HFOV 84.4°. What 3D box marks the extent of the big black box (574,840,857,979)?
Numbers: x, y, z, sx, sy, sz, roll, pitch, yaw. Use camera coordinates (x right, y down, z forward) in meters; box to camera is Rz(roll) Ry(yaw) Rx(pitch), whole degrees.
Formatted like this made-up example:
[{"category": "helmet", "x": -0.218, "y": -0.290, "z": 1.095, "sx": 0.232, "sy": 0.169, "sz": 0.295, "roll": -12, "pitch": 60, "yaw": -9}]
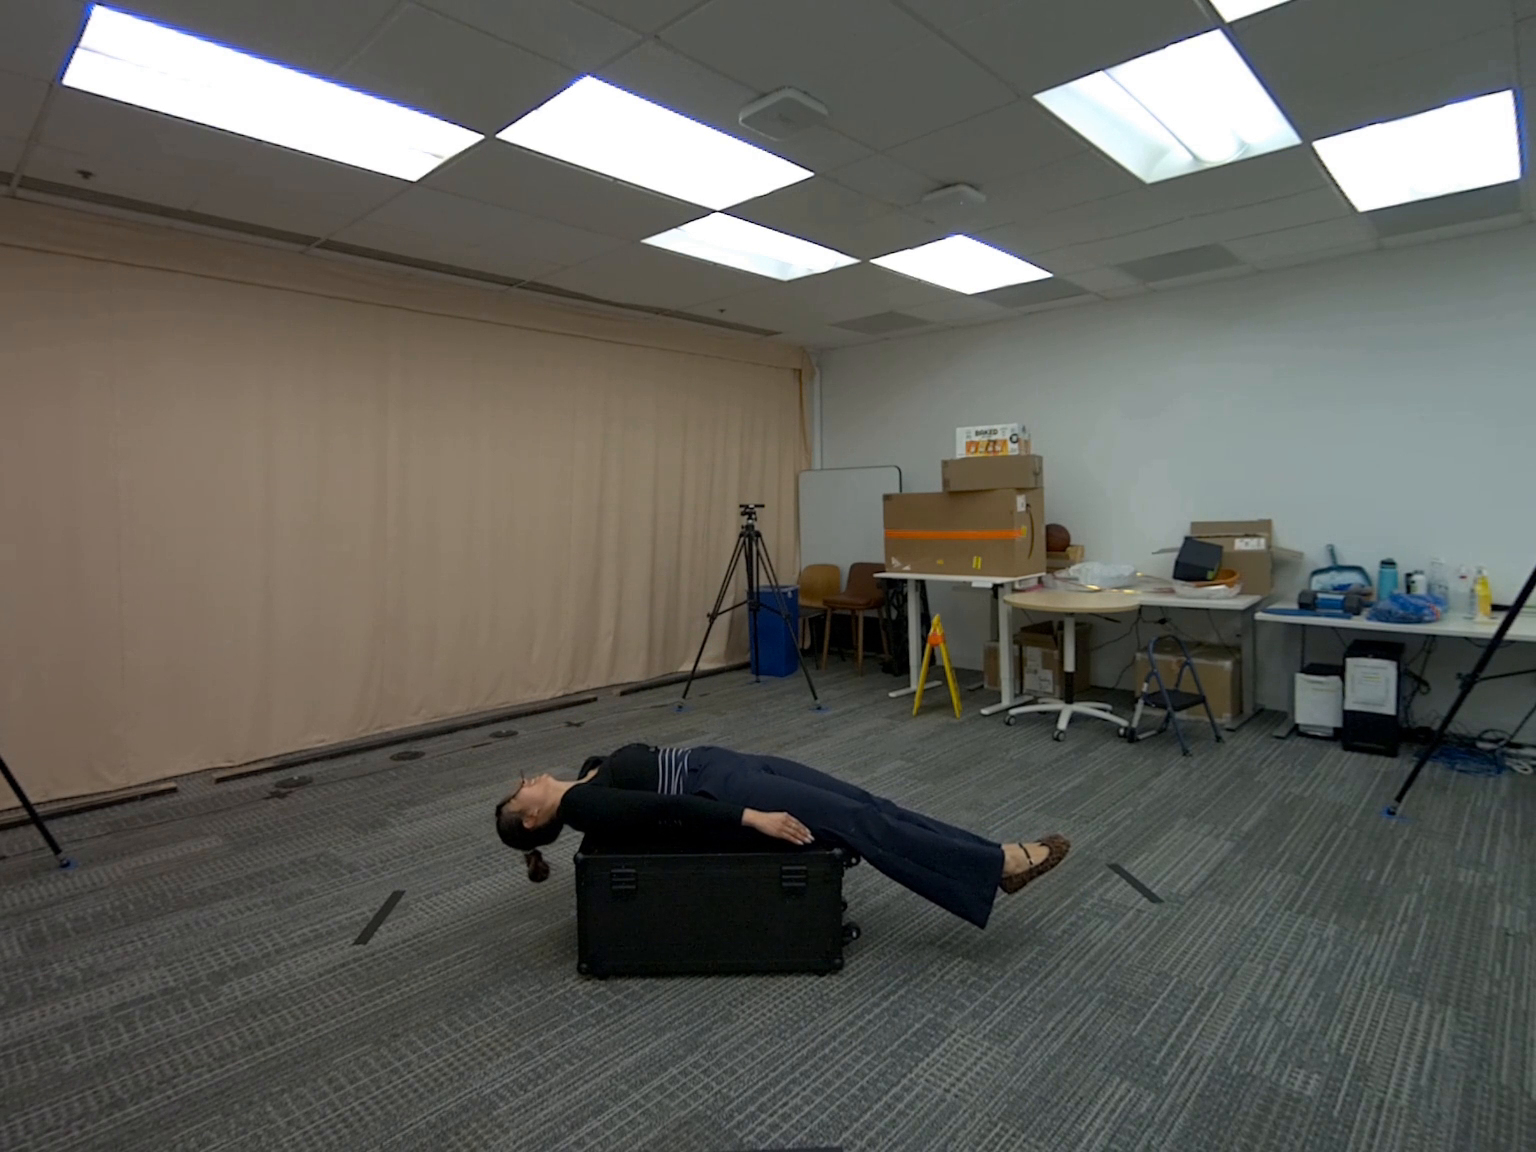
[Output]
[{"category": "big black box", "x": -0.149, "y": 0.969, "z": 2.697, "sx": 0.860, "sy": 0.395, "sz": 0.523, "roll": -2, "pitch": 3, "yaw": -2}]
